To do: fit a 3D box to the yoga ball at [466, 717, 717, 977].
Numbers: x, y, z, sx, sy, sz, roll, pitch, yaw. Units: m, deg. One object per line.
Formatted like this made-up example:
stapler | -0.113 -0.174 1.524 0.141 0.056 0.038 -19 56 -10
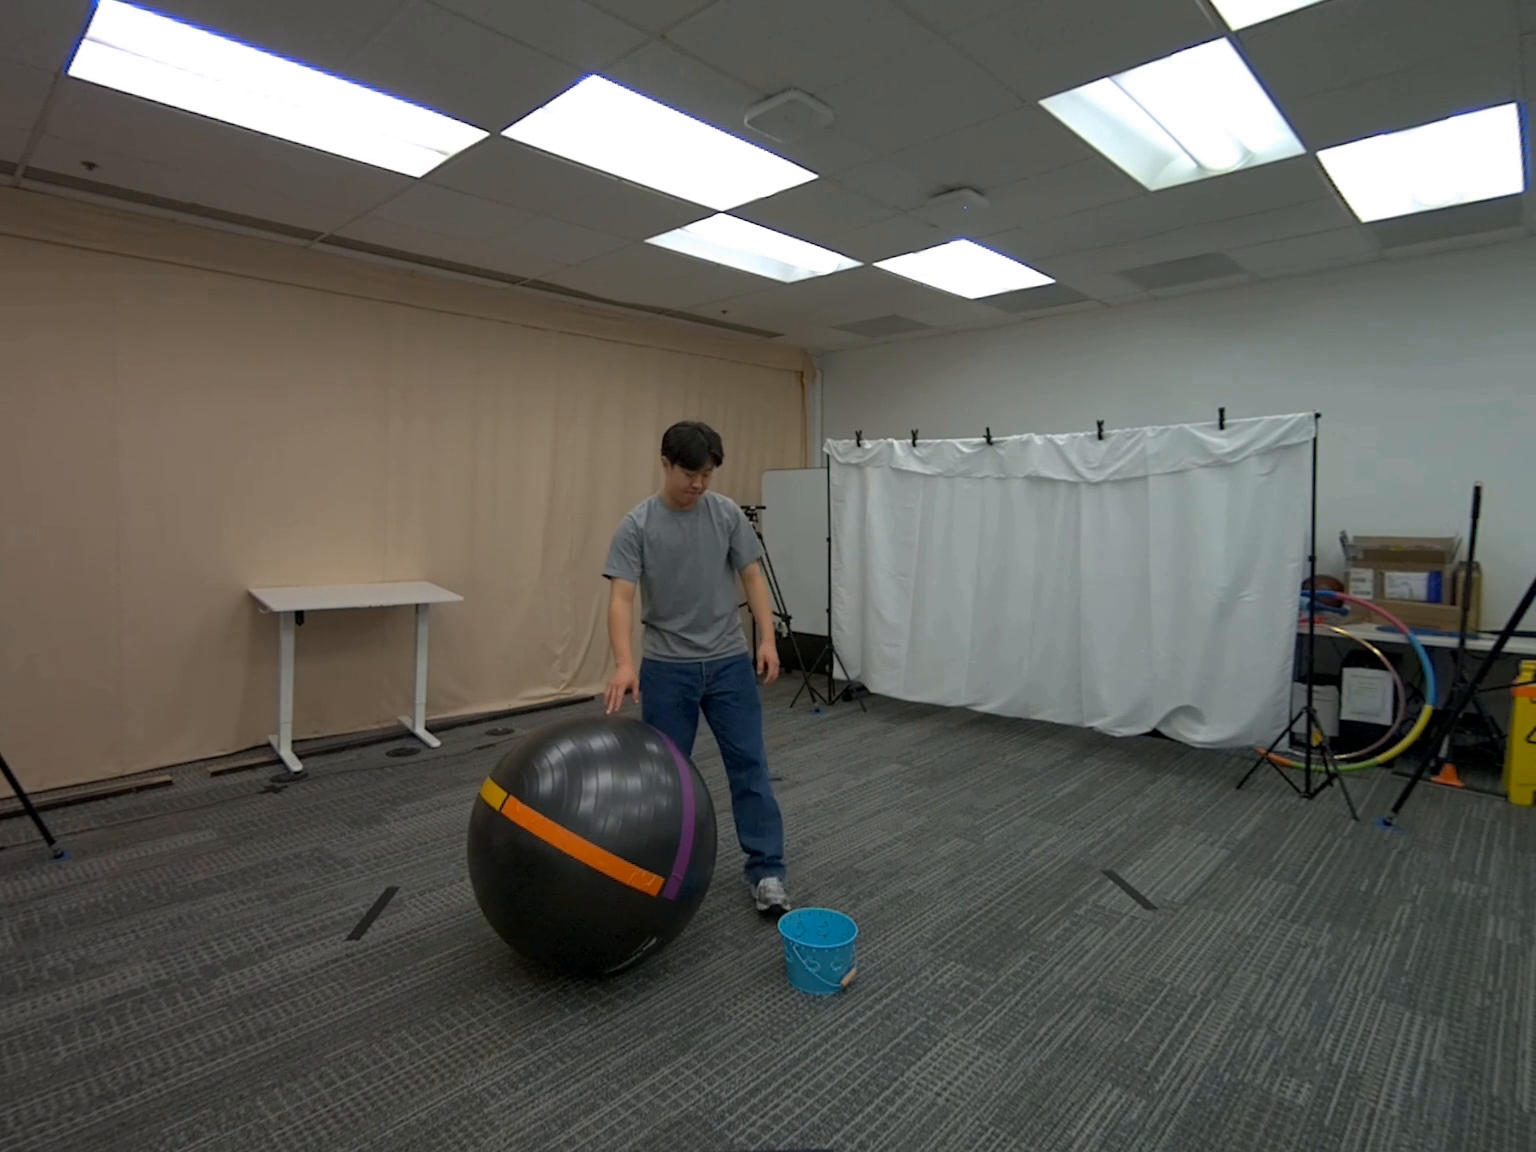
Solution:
yoga ball | -0.535 0.811 2.596 0.757 0.756 0.760 0 4 -2
